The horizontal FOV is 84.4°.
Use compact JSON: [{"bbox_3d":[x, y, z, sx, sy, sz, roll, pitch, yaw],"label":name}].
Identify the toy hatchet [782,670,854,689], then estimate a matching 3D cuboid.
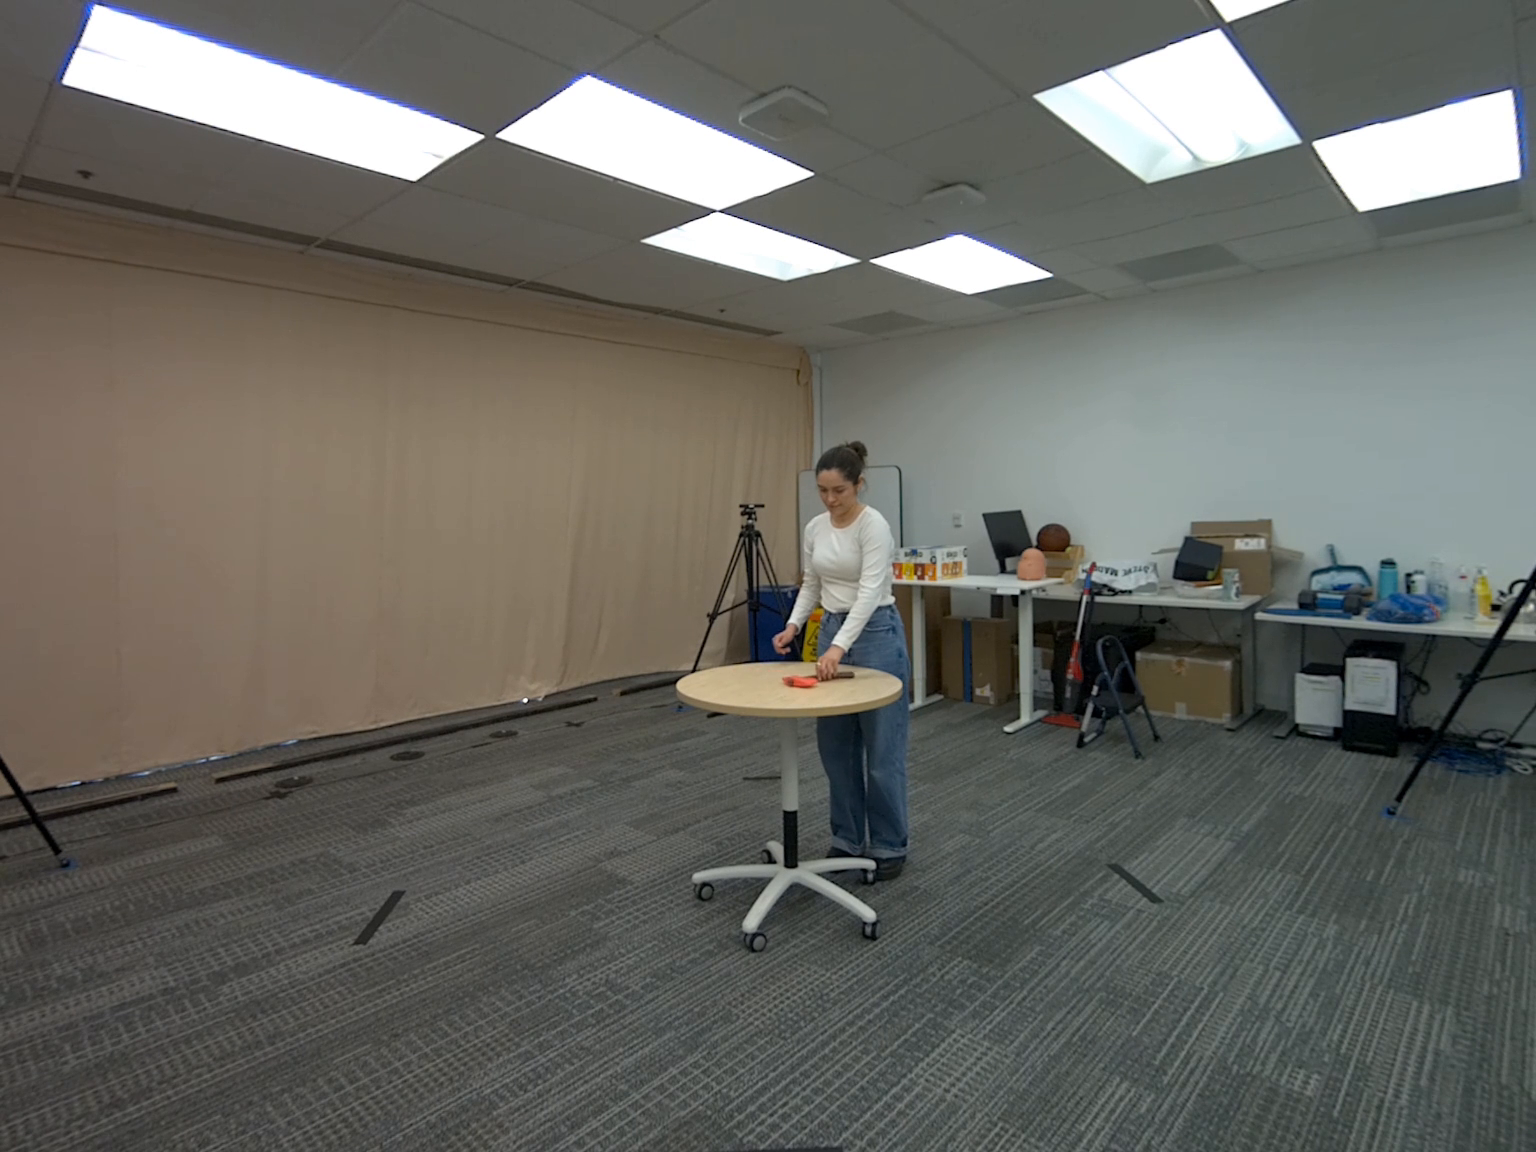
[{"bbox_3d":[0.191,0.351,2.862,0.265,0.029,0.134,-2,1,-20],"label":"toy hatchet"}]
